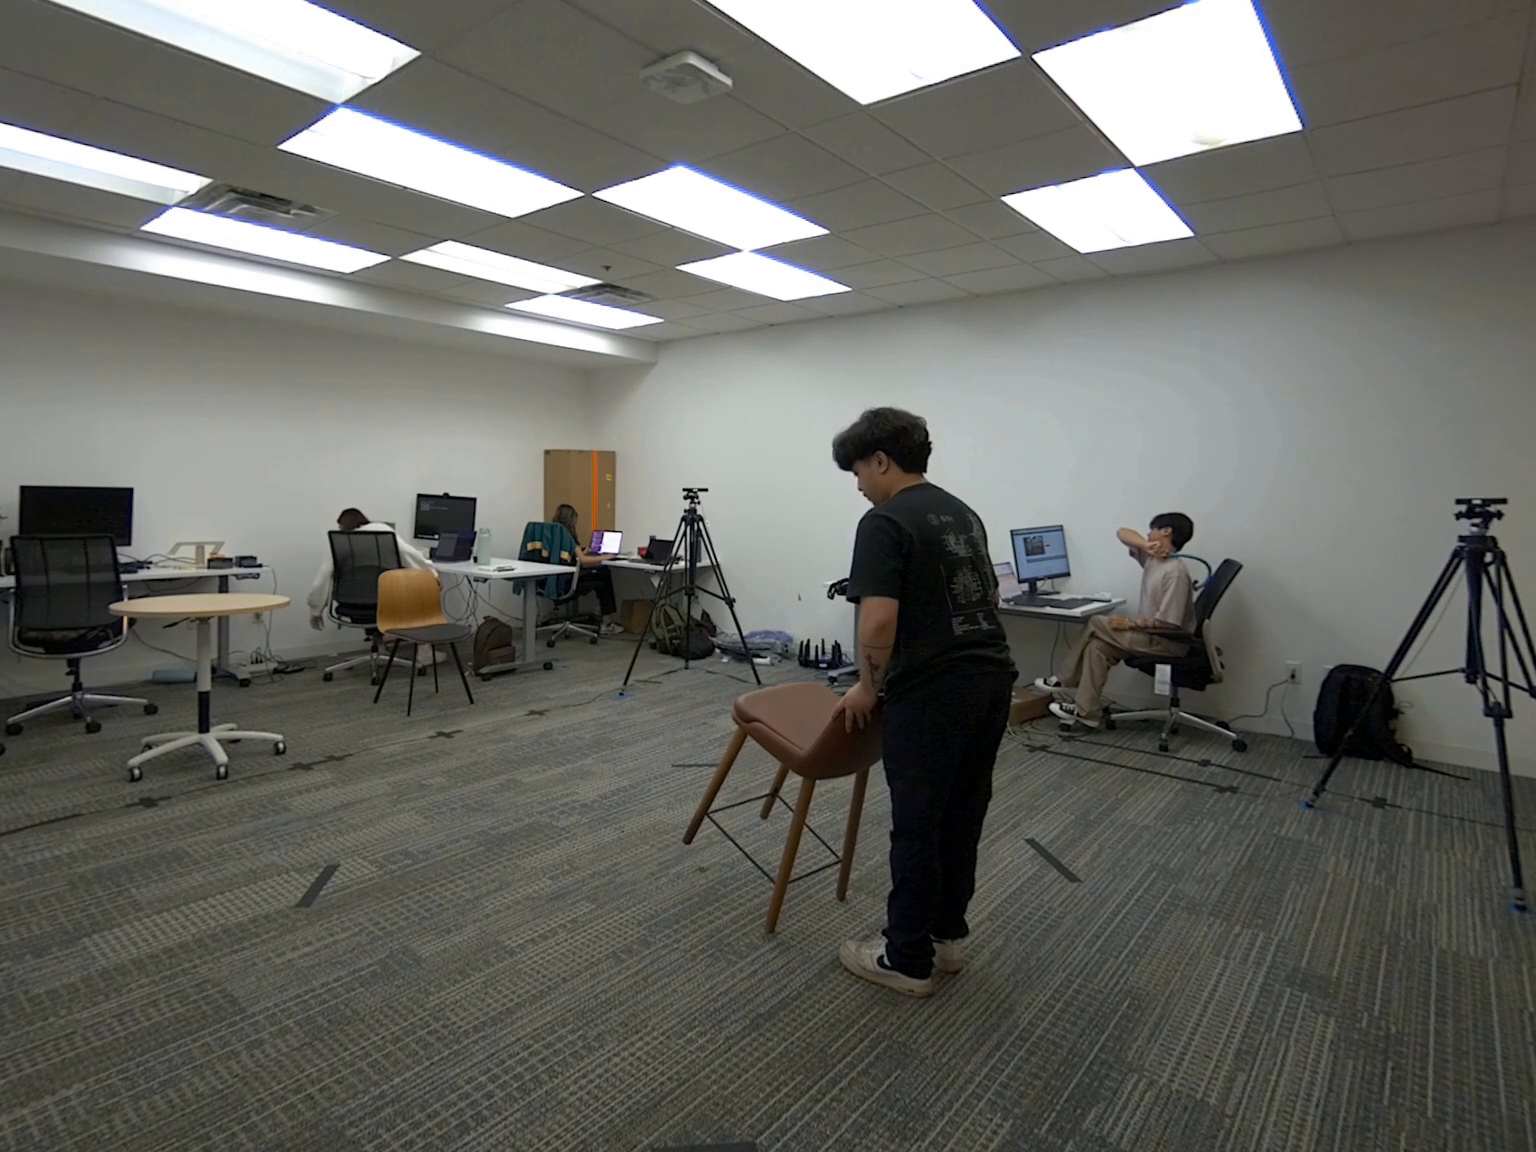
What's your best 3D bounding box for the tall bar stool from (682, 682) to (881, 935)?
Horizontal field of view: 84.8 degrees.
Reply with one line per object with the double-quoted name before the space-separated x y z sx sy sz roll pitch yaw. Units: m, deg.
"tall bar stool" 0.112 0.625 2.794 0.442 0.880 0.488 -1 28 -43
